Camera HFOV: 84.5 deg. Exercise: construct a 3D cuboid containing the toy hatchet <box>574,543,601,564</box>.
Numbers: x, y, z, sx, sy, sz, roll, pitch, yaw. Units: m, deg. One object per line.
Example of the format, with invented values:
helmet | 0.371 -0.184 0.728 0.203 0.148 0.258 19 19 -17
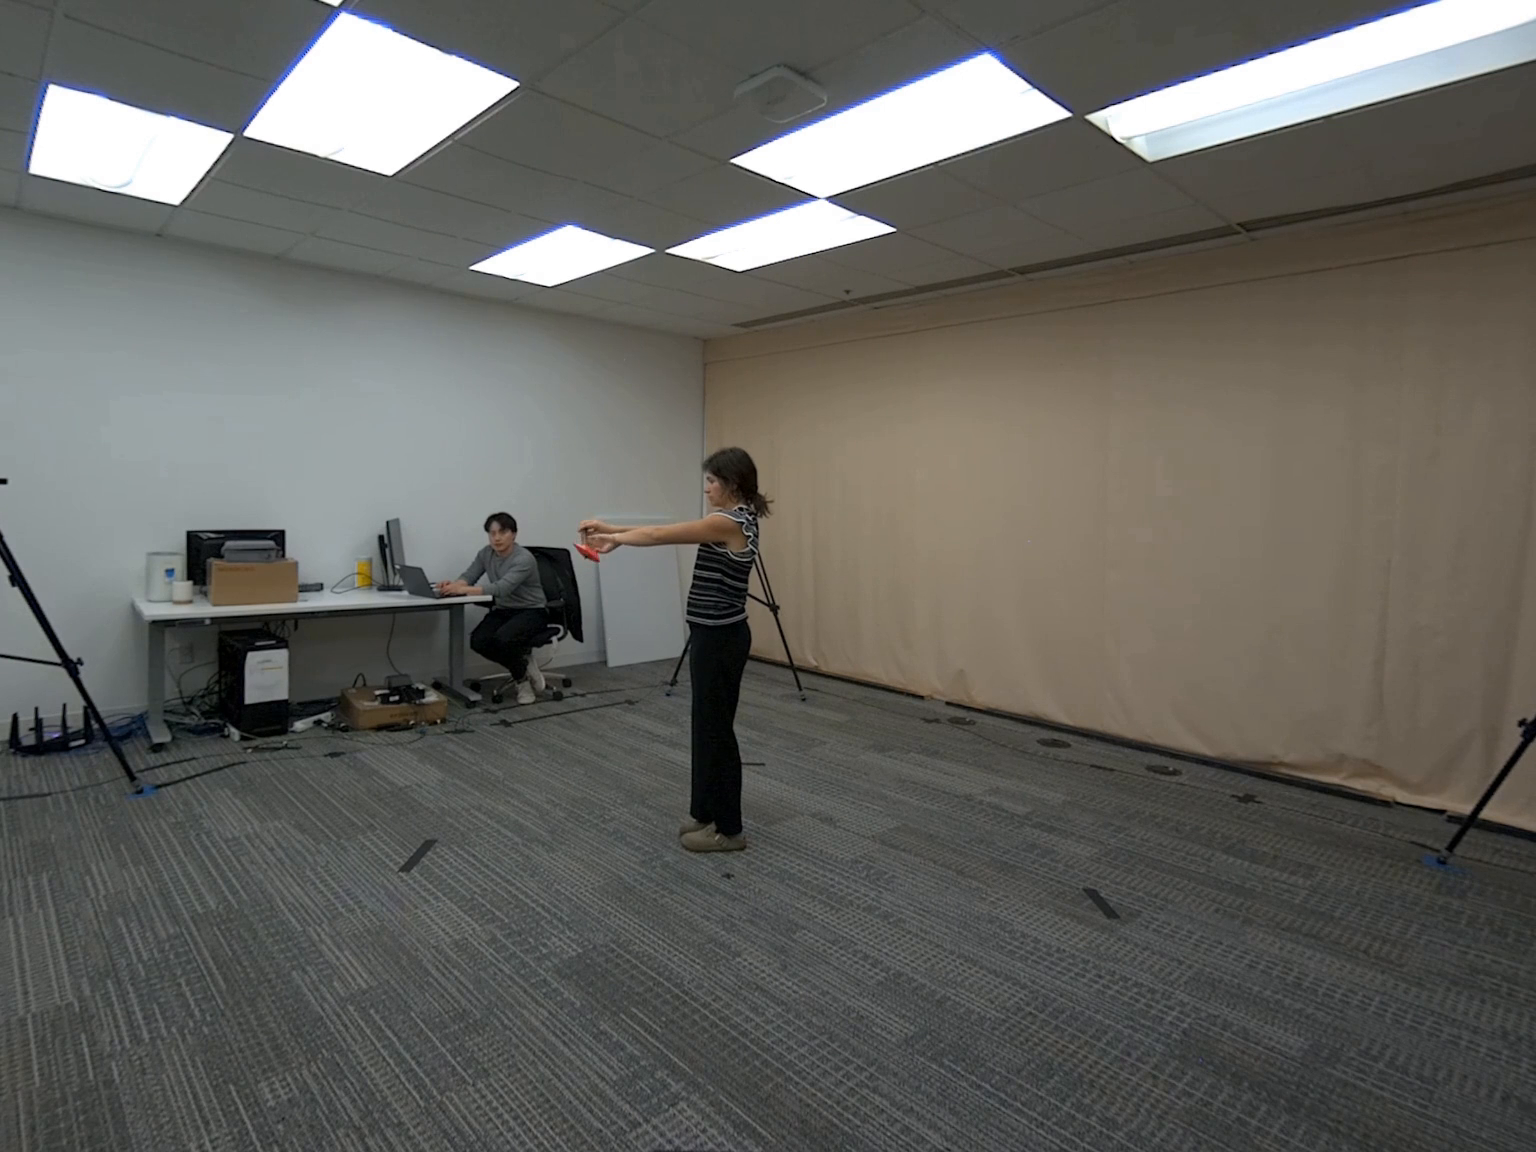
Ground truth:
toy hatchet | -0.721 -0.132 3.360 0.129 0.029 0.273 42 12 -13
